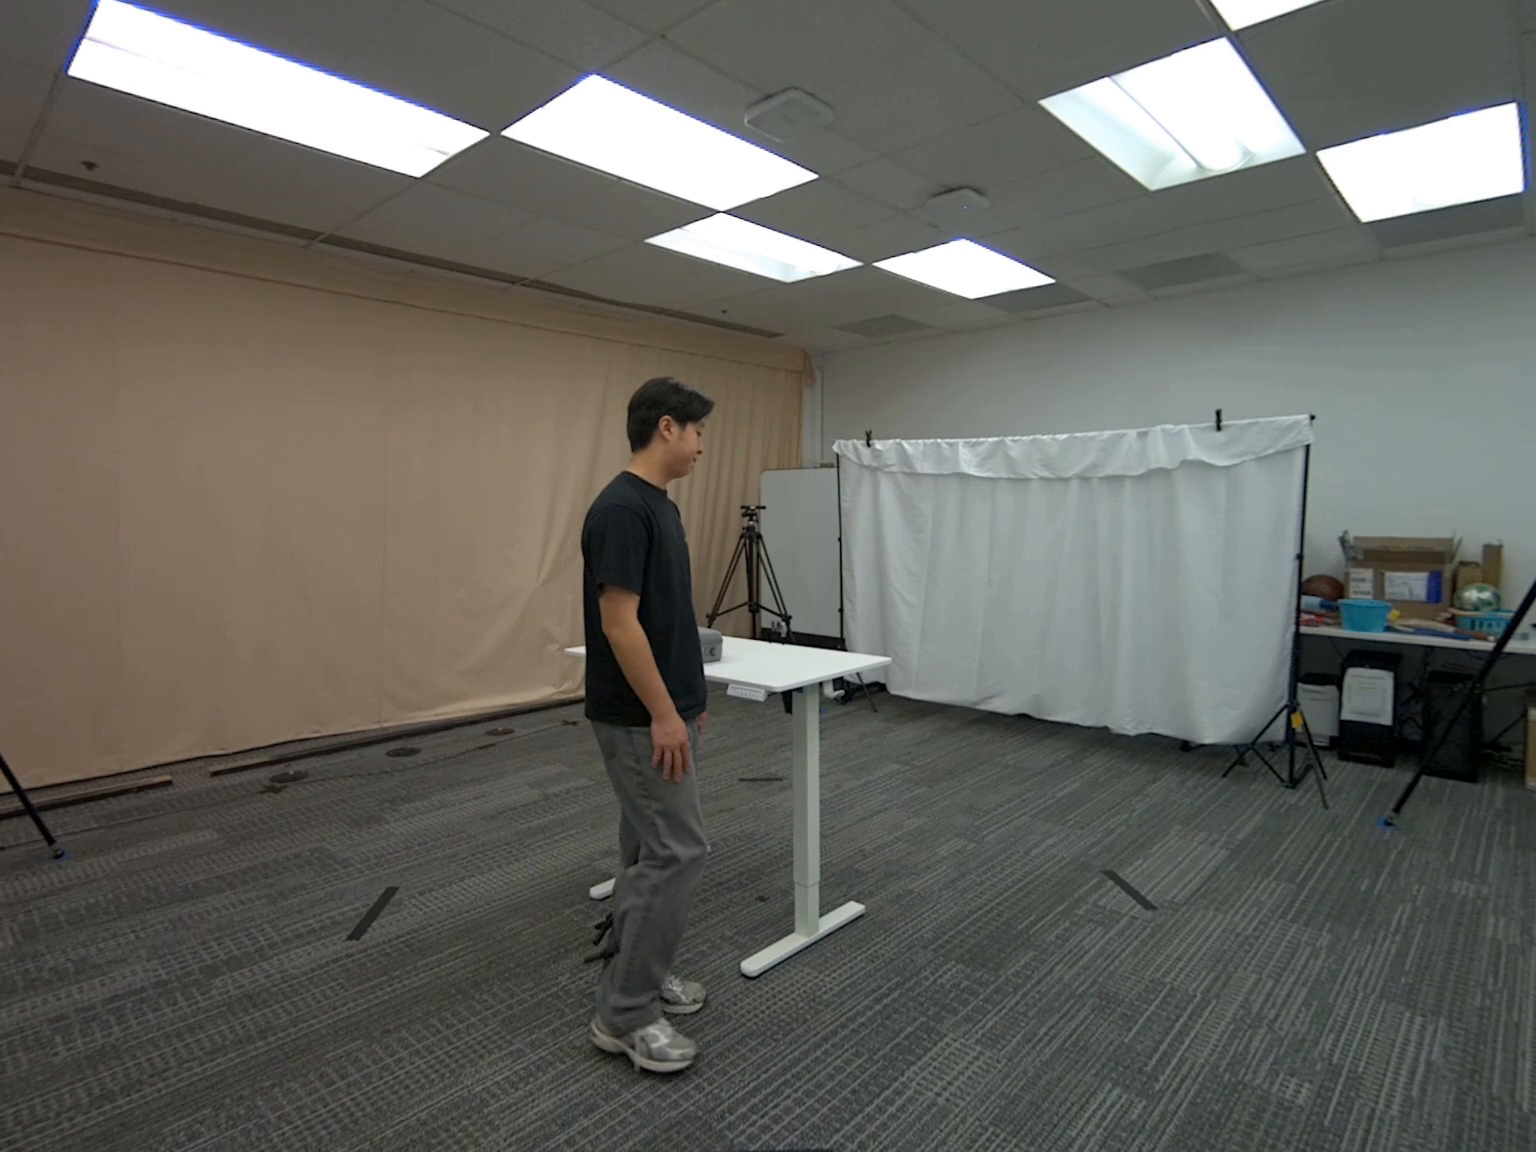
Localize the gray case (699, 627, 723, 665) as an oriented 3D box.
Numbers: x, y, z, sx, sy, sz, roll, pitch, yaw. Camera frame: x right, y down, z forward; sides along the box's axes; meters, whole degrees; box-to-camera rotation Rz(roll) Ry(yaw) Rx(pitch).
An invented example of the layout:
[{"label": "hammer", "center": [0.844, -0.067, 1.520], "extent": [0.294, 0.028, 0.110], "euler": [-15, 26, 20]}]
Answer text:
[{"label": "gray case", "center": [-0.308, 0.226, 2.798], "extent": [0.253, 0.104, 0.265], "euler": [-2, 4, -34]}]
